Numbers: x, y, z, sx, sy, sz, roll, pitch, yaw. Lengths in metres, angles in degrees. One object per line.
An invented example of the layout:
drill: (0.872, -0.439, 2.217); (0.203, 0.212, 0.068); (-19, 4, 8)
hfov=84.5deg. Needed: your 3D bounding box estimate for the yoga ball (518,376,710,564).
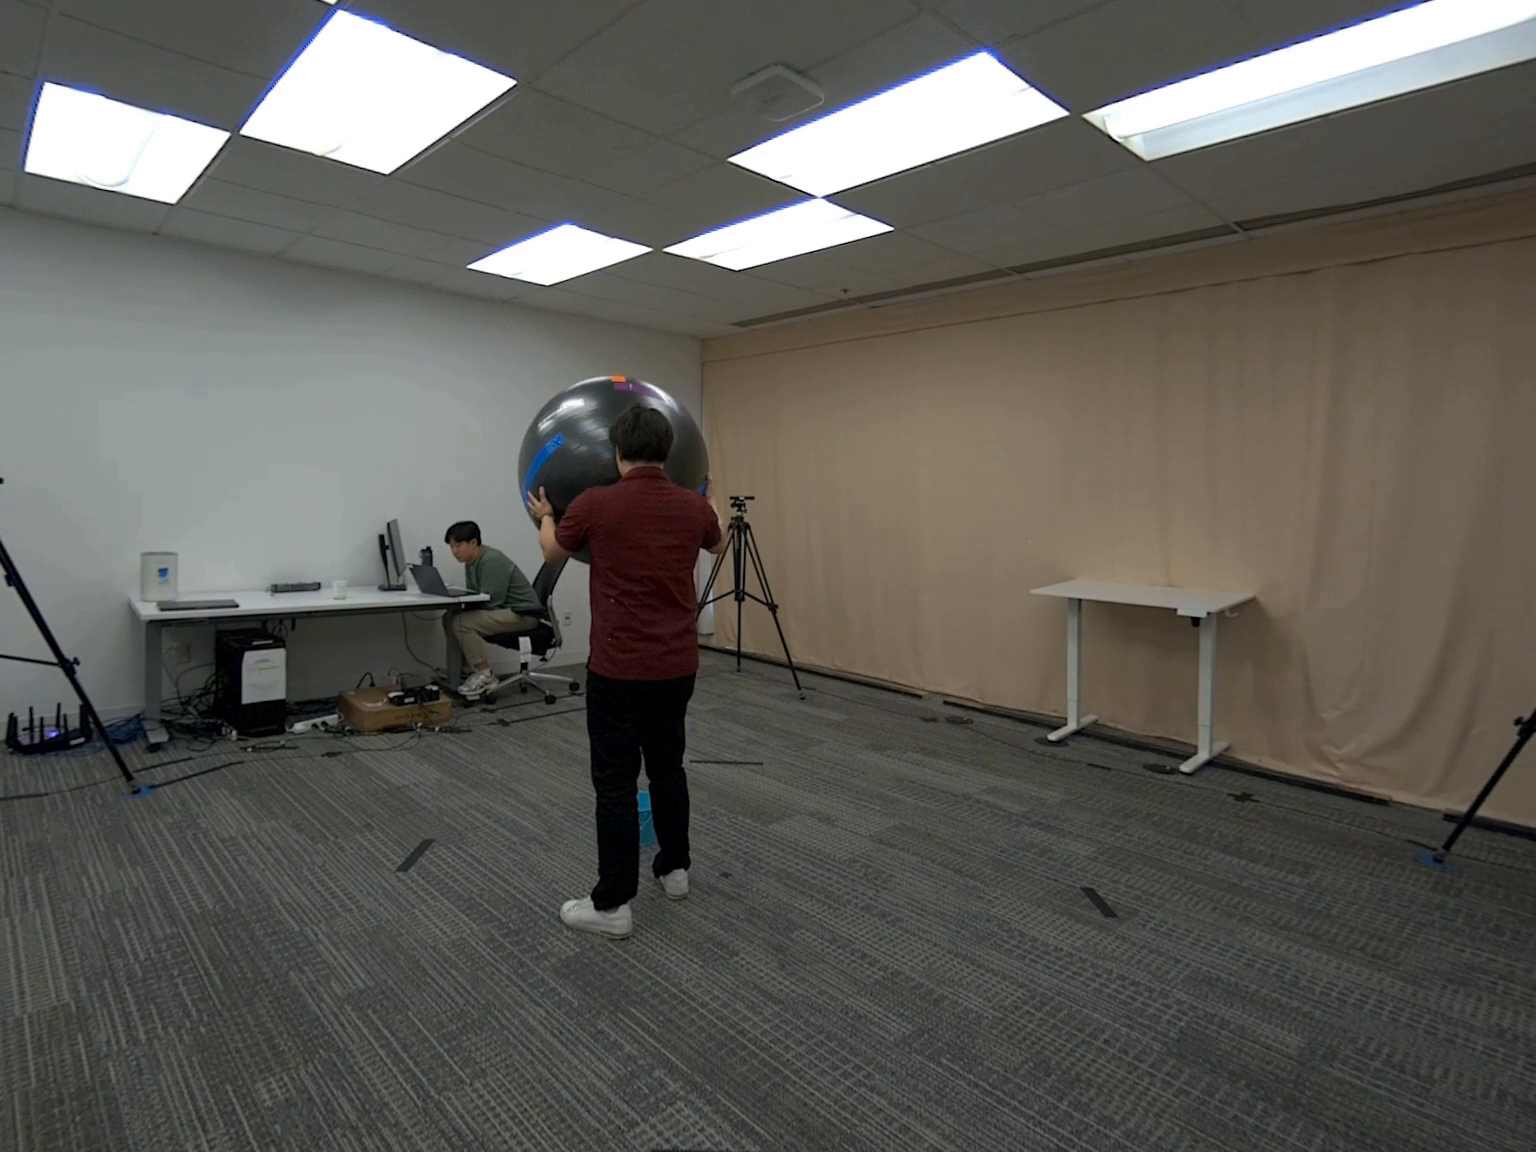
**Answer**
yoga ball: (-0.619, -0.403, 3.359); (0.757, 0.756, 0.761); (1, 4, -1)
